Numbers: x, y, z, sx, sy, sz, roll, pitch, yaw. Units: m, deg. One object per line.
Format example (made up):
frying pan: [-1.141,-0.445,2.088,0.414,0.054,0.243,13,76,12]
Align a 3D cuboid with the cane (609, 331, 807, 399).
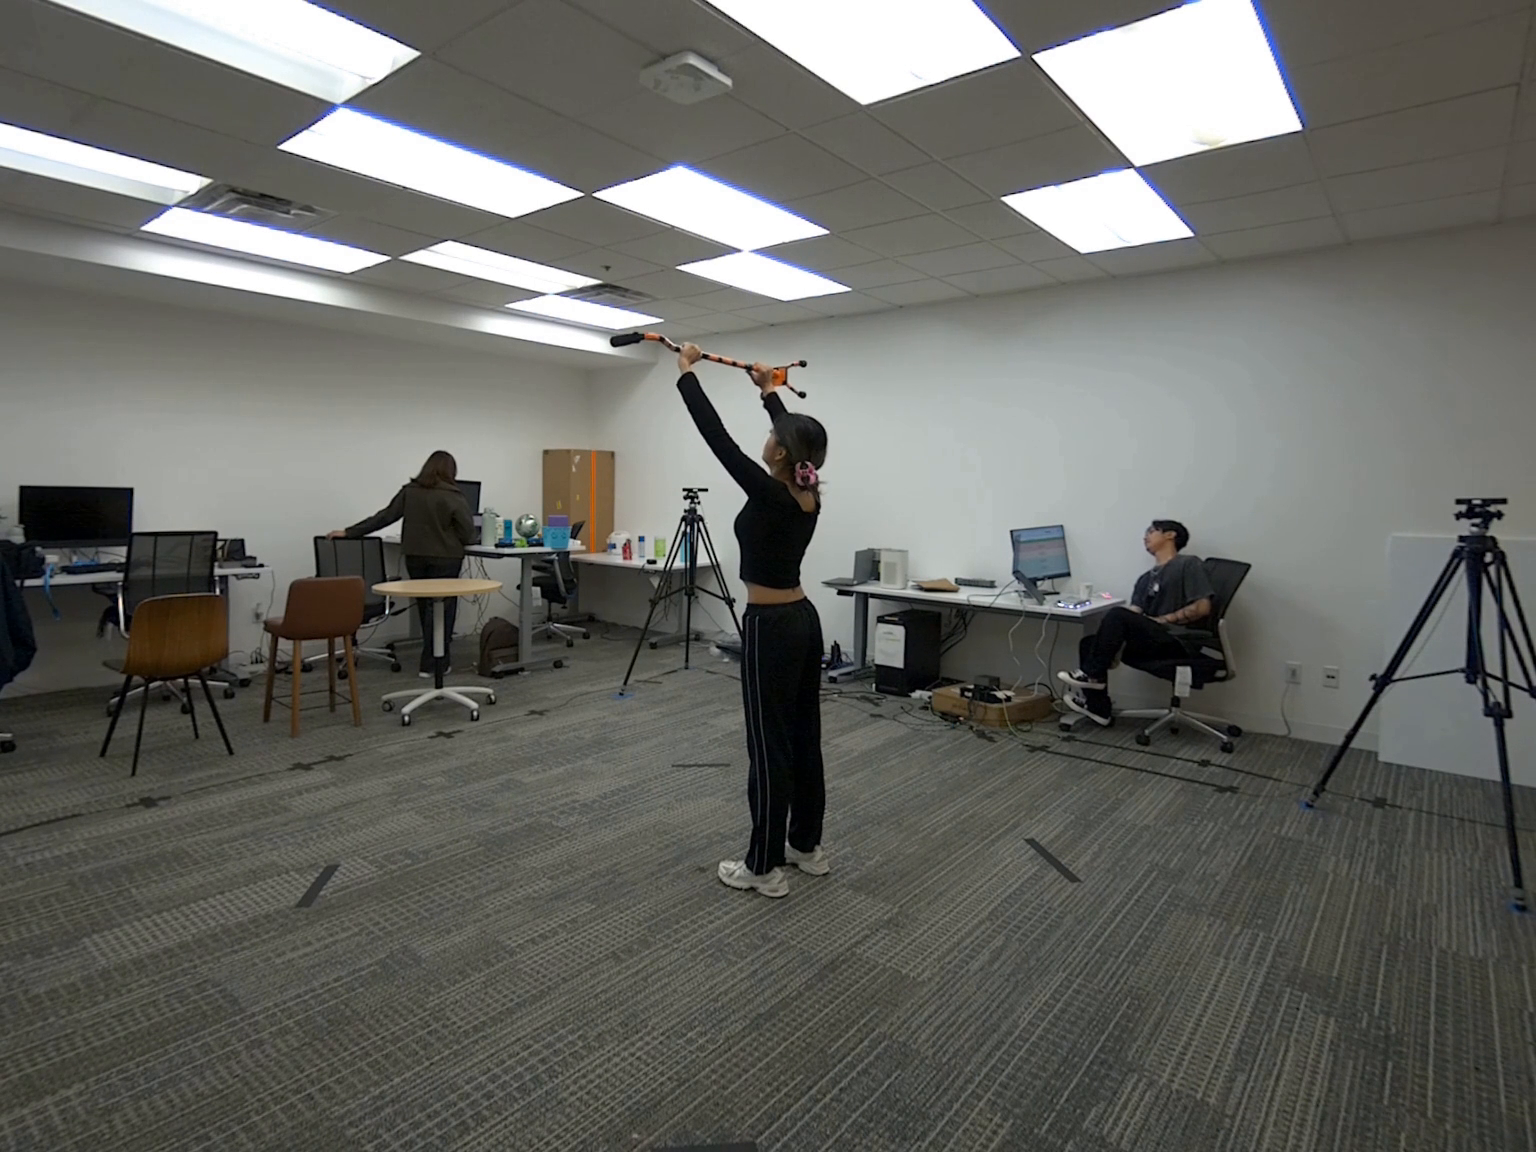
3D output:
cane: [-0.194,-0.767,3.060,0.213,0.151,0.881,2,3,36]
